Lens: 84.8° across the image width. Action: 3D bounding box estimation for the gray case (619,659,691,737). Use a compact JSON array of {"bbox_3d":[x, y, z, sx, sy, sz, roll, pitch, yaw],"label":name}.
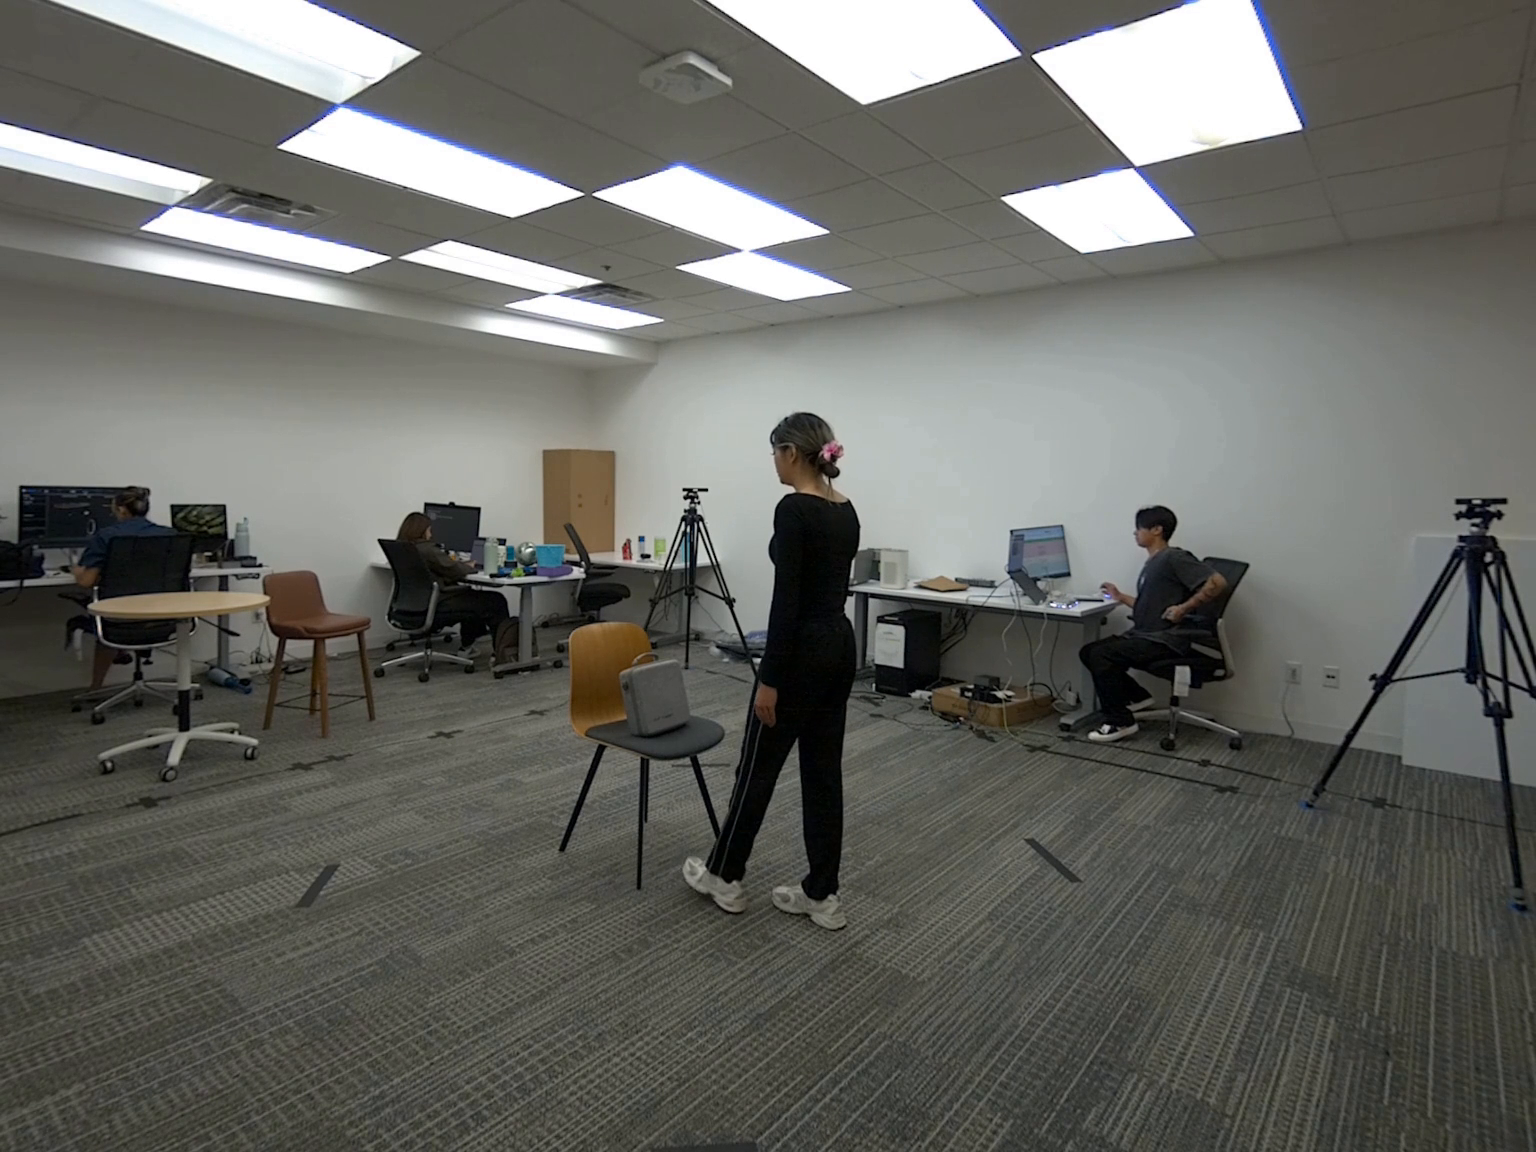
[{"bbox_3d":[-0.443,0.445,3.202,0.107,0.262,0.249,-16,-7,39],"label":"gray case"}]
